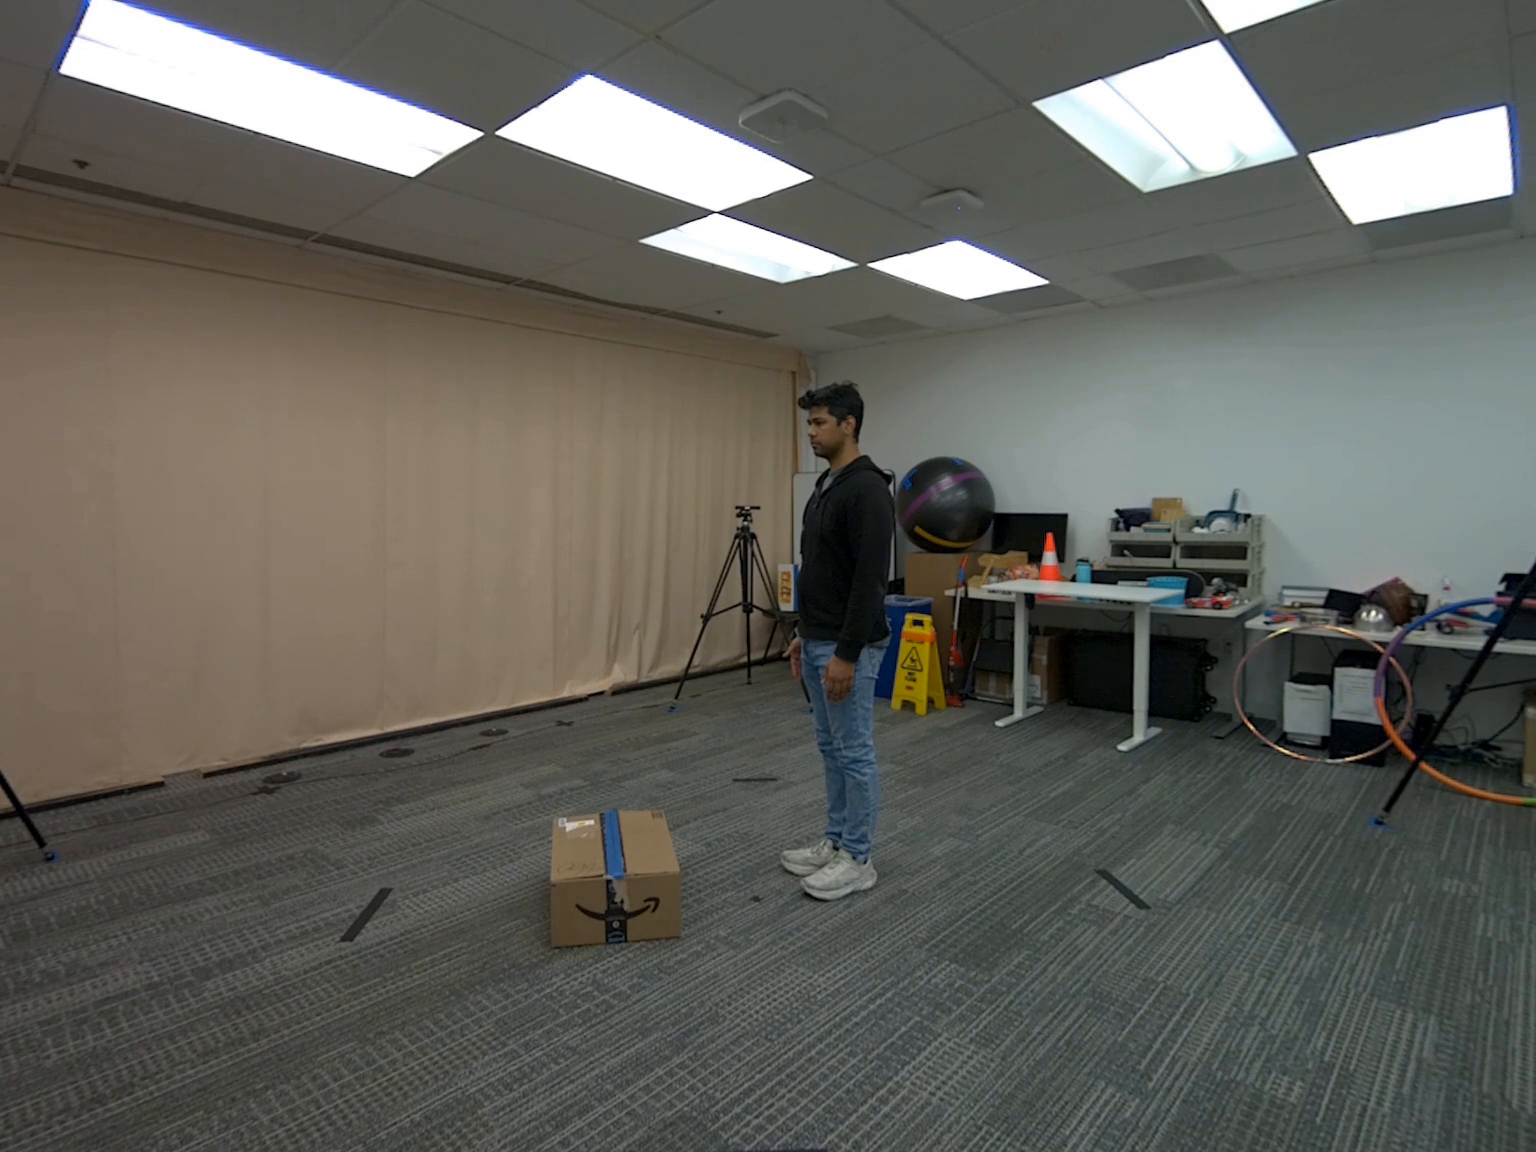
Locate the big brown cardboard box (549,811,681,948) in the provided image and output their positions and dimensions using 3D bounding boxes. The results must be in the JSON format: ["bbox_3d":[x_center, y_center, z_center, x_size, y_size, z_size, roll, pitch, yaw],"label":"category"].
[{"bbox_3d":[-0.545,1.038,2.959,0.413,0.232,0.598,-1,5,-12],"label":"big brown cardboard box"}]
